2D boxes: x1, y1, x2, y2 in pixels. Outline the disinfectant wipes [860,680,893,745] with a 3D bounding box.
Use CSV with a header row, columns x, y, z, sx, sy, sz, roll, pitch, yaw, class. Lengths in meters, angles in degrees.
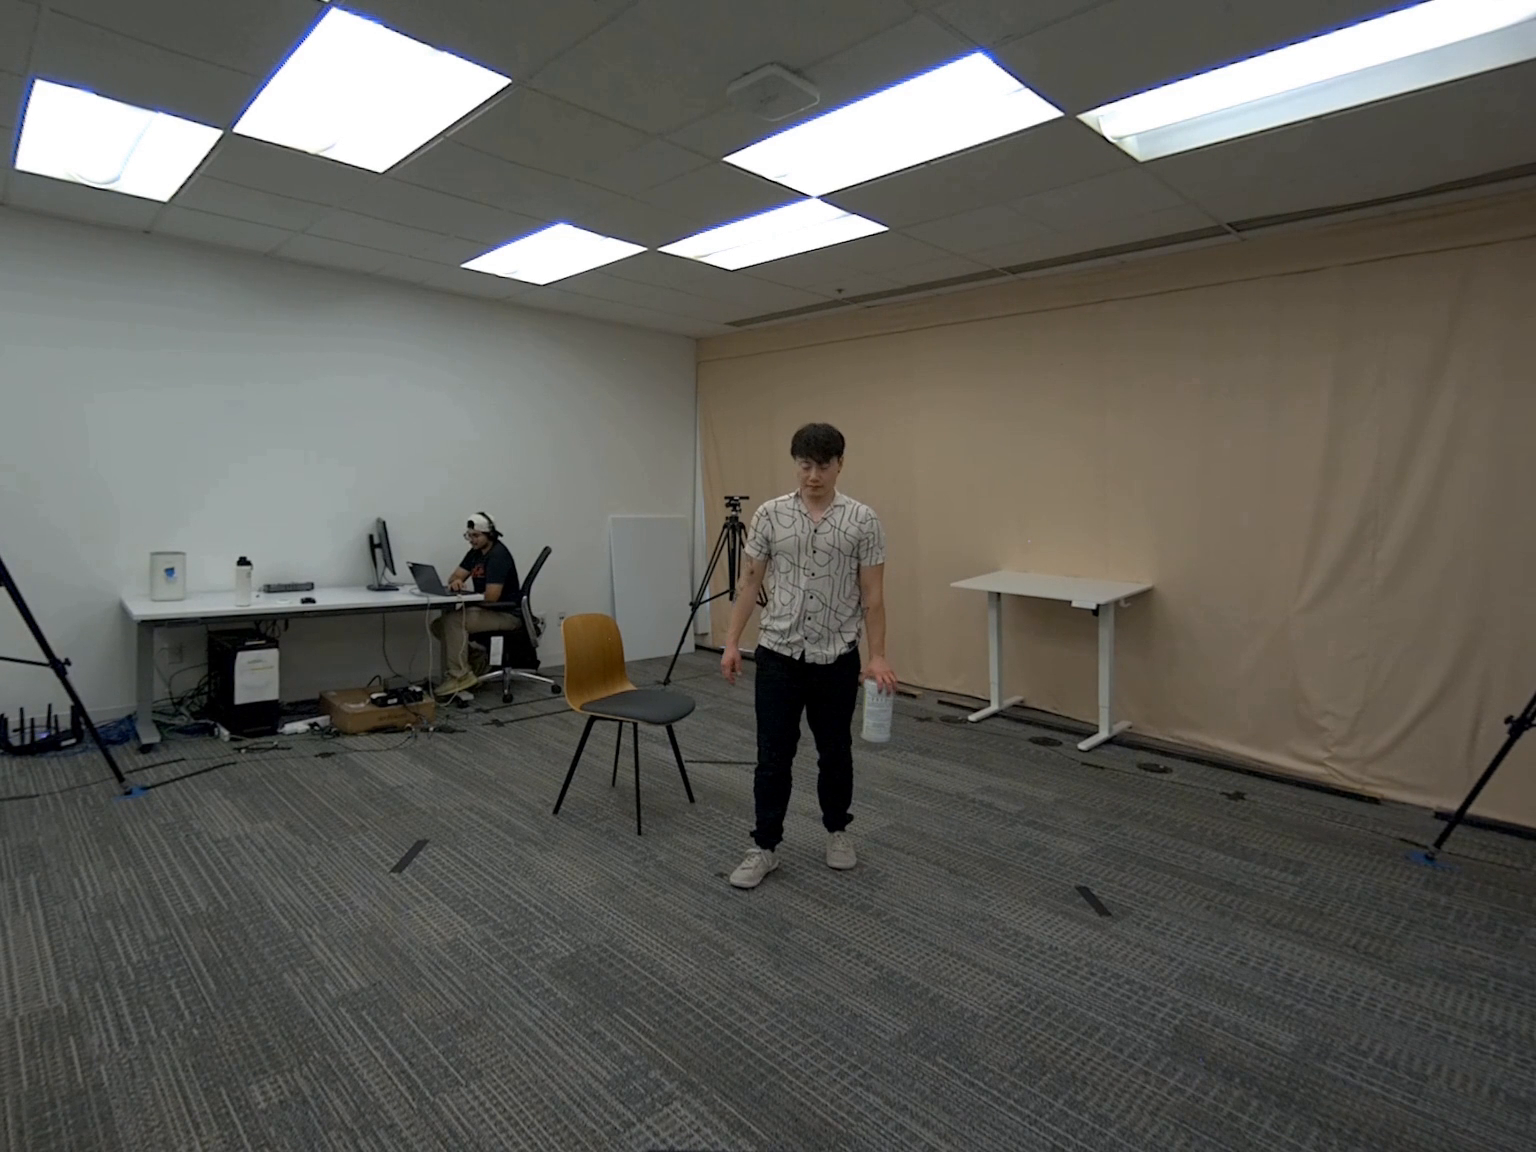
x,y,z,sx,sy,sz,roll,pitch,yaw,class
0.392,0.479,3.029,0.118,0.217,0.118,2,3,-1,disinfectant wipes
